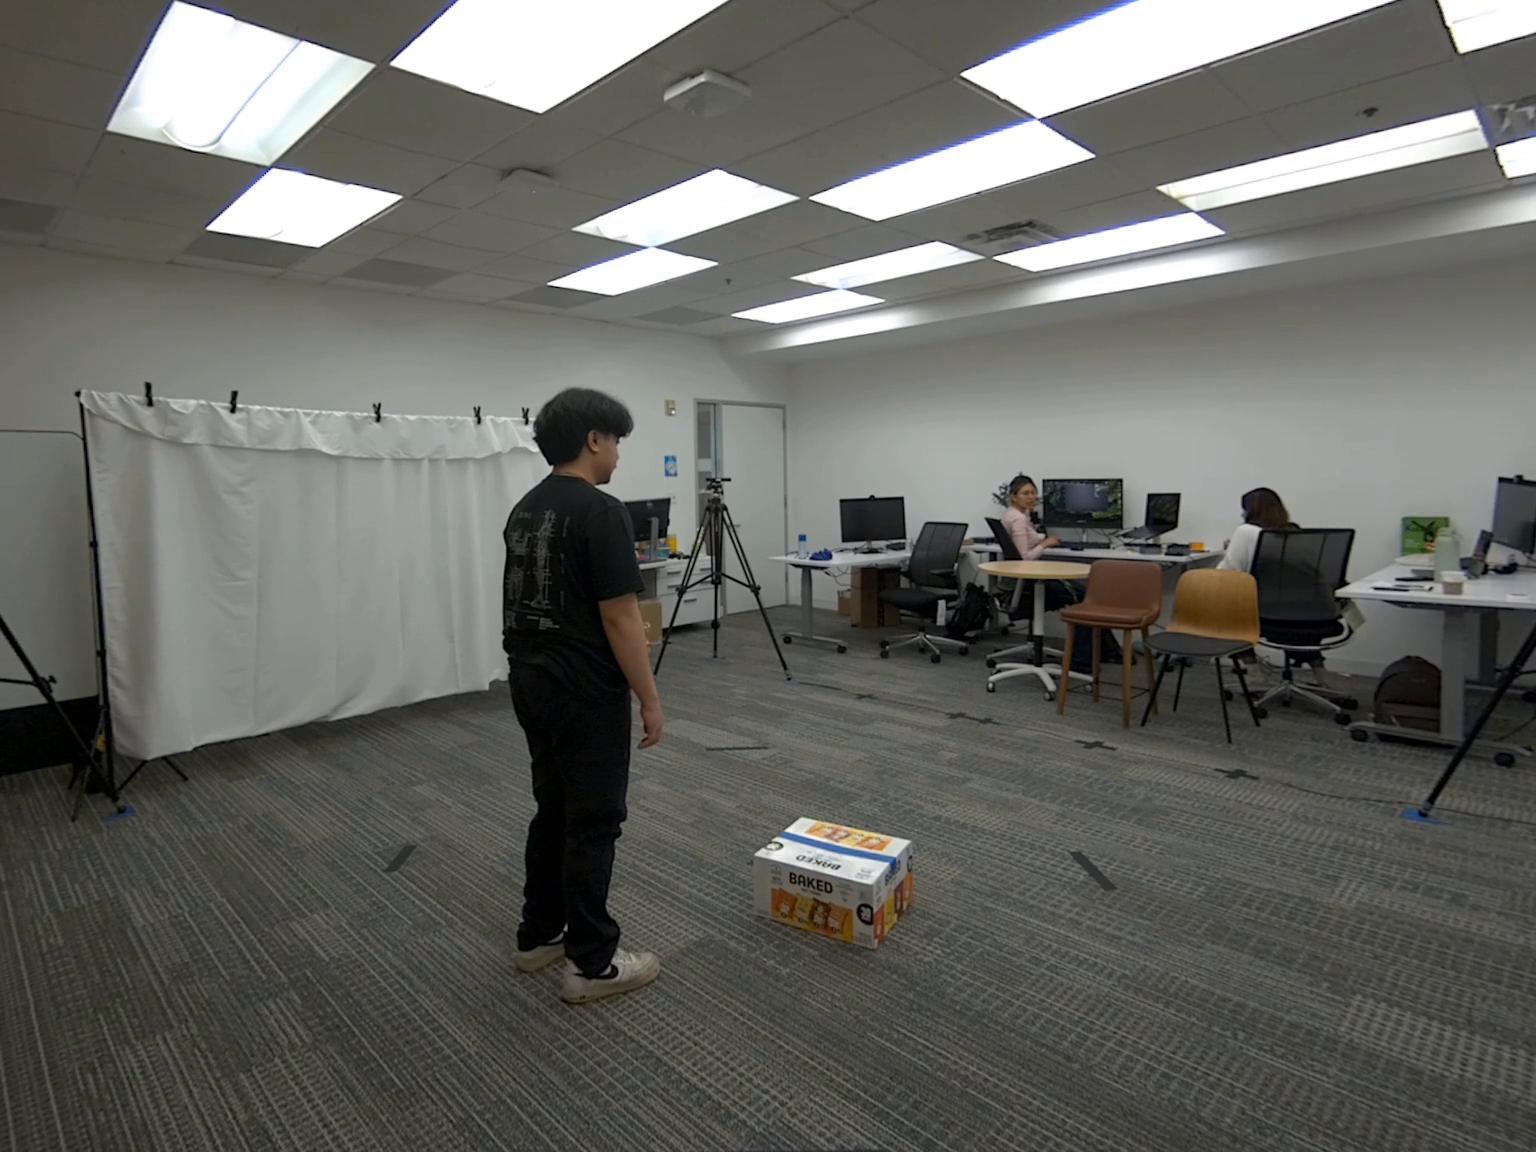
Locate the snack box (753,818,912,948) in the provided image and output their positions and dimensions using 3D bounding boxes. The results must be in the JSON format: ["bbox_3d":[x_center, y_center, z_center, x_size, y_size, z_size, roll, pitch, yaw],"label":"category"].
[{"bbox_3d":[0.216,0.974,2.756,0.416,0.205,0.333,2,7,30],"label":"snack box"}]
